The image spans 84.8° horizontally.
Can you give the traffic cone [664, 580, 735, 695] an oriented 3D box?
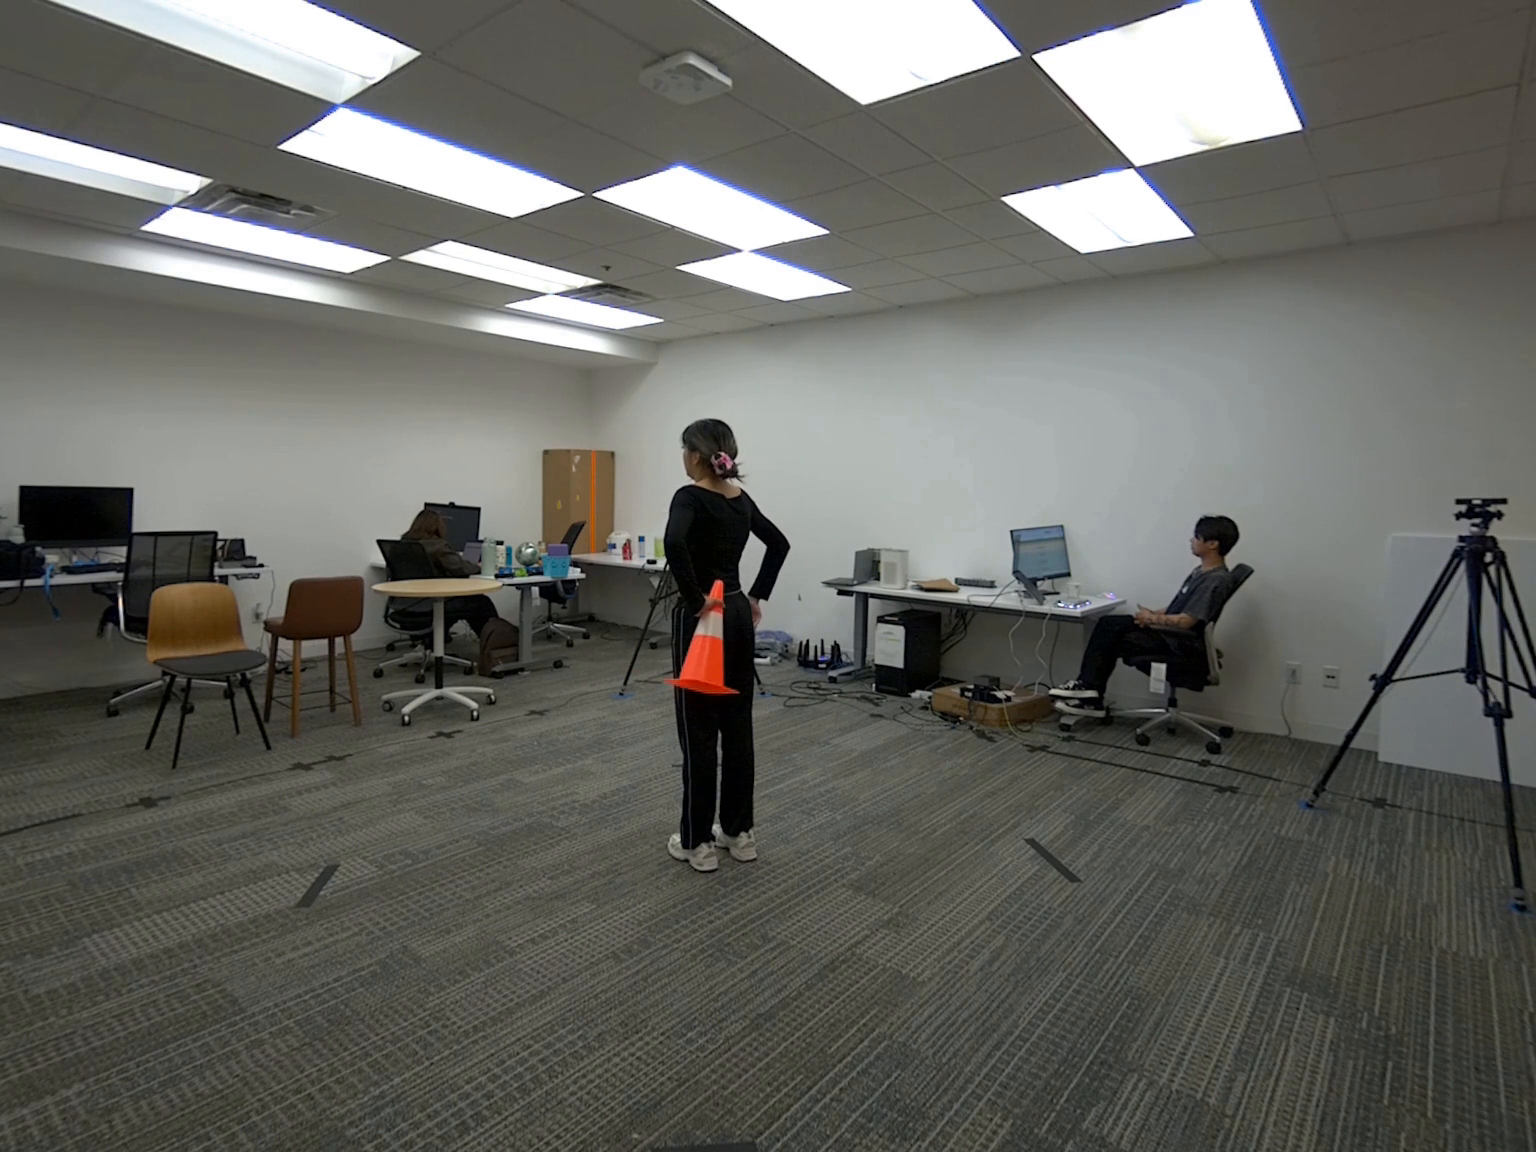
[{"bbox_3d":[-0.218,0.193,2.963,0.197,0.389,0.208,24,-25,-39],"label":"traffic cone"}]
